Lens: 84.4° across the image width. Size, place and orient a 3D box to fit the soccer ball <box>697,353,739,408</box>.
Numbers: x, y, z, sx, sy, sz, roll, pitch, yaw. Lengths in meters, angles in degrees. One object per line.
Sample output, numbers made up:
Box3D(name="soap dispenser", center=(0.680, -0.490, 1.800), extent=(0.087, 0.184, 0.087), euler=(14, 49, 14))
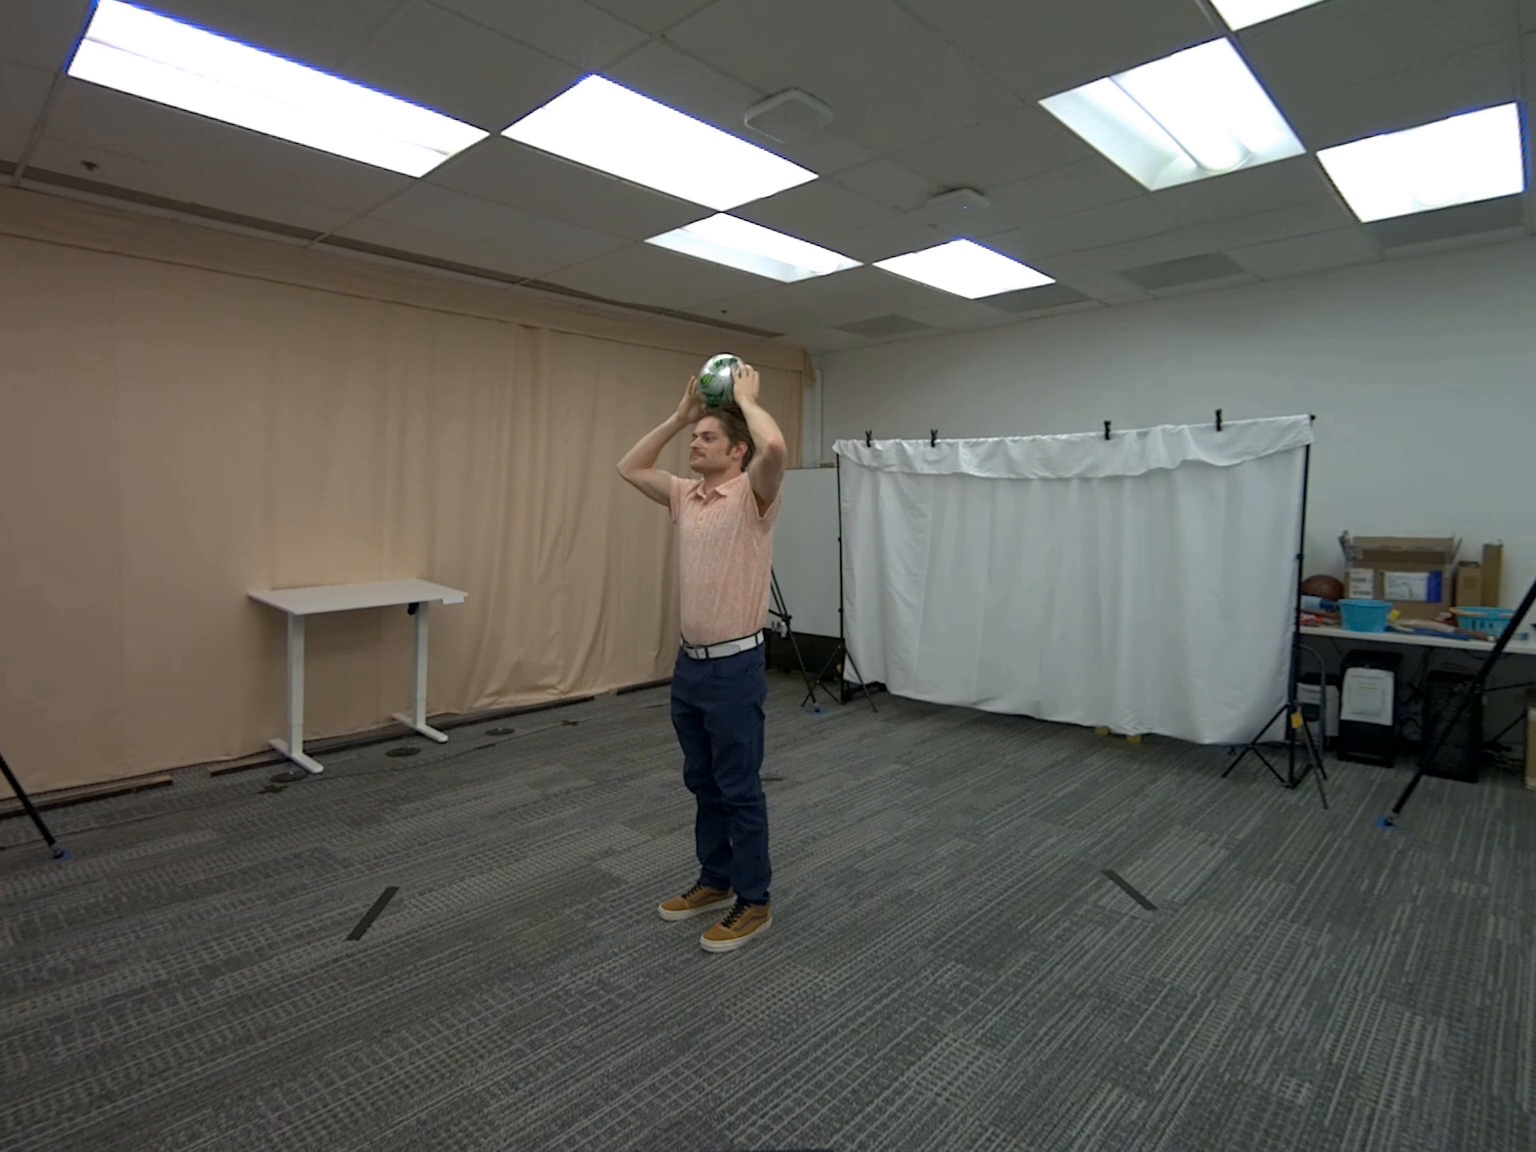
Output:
Box3D(name="soccer ball", center=(-0.142, -0.632, 2.769), extent=(0.187, 0.187, 0.188), euler=(0, 4, -2))
